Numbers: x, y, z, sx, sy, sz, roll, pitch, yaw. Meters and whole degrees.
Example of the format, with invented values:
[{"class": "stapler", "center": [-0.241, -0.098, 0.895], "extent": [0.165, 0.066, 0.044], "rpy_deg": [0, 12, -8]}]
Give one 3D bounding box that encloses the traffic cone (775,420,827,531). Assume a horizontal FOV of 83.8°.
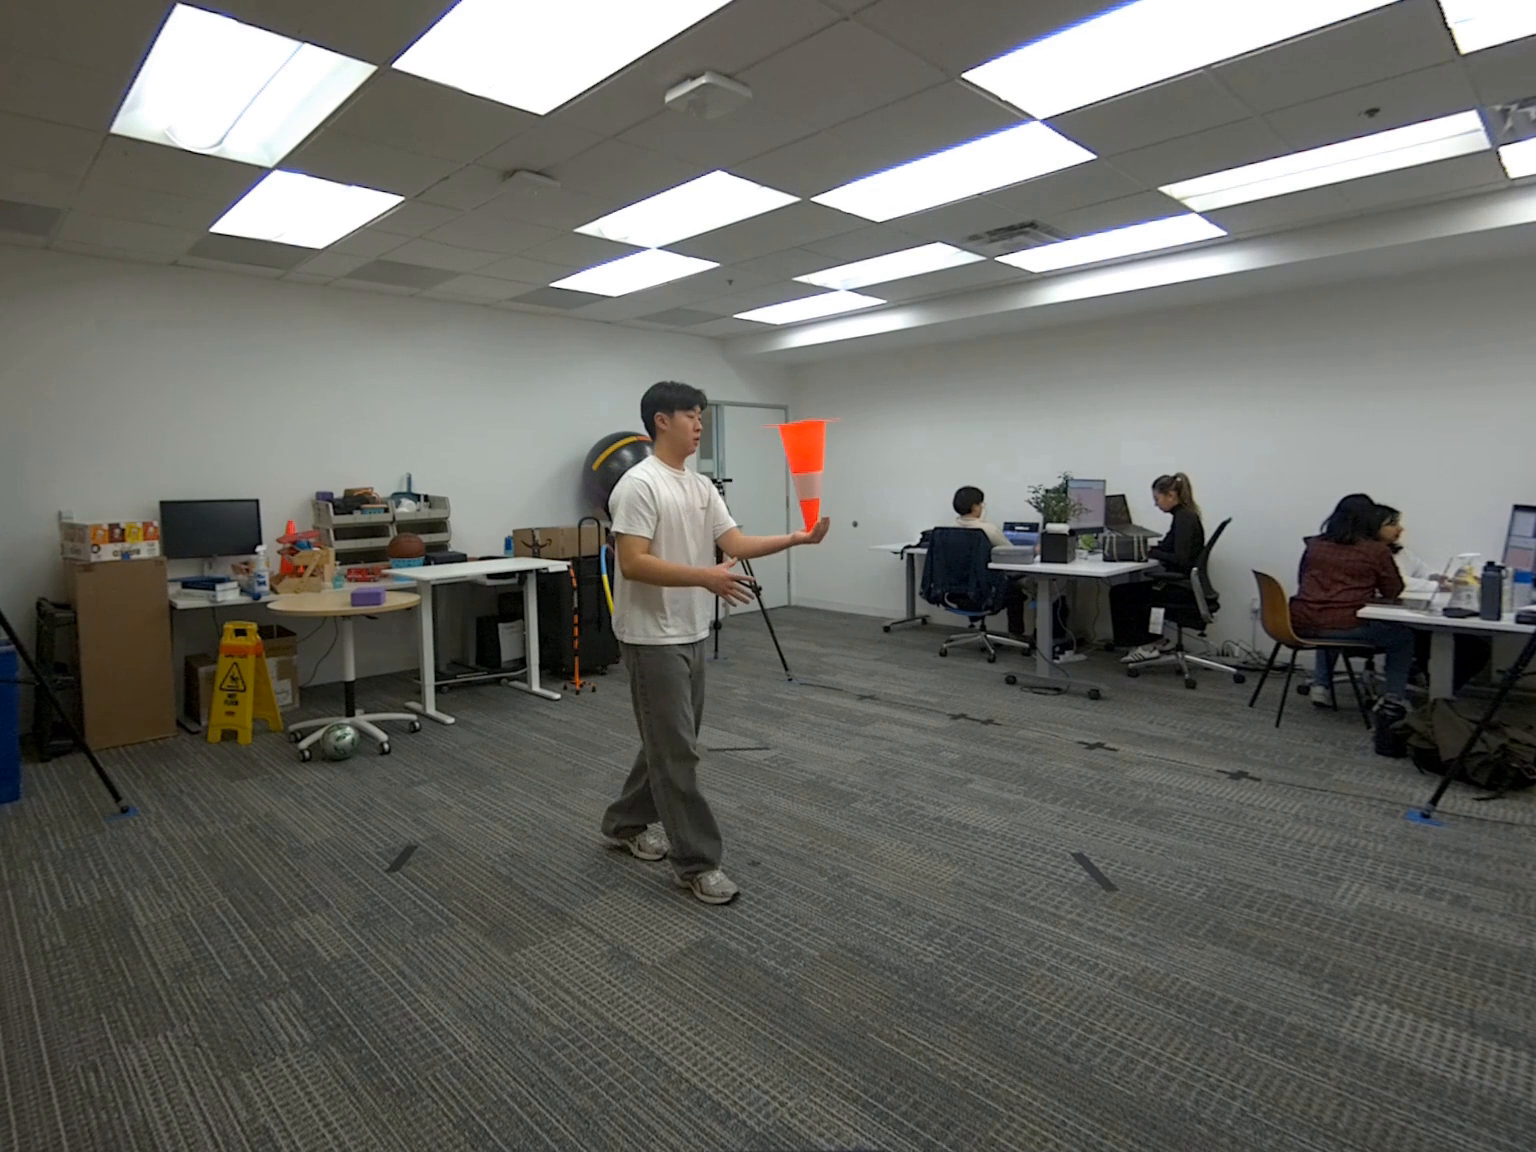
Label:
[{"class": "traffic cone", "center": [0.125, -0.317, 2.884], "extent": [0.198, 0.381, 0.211], "rpy_deg": [-10, 9, -44]}]
